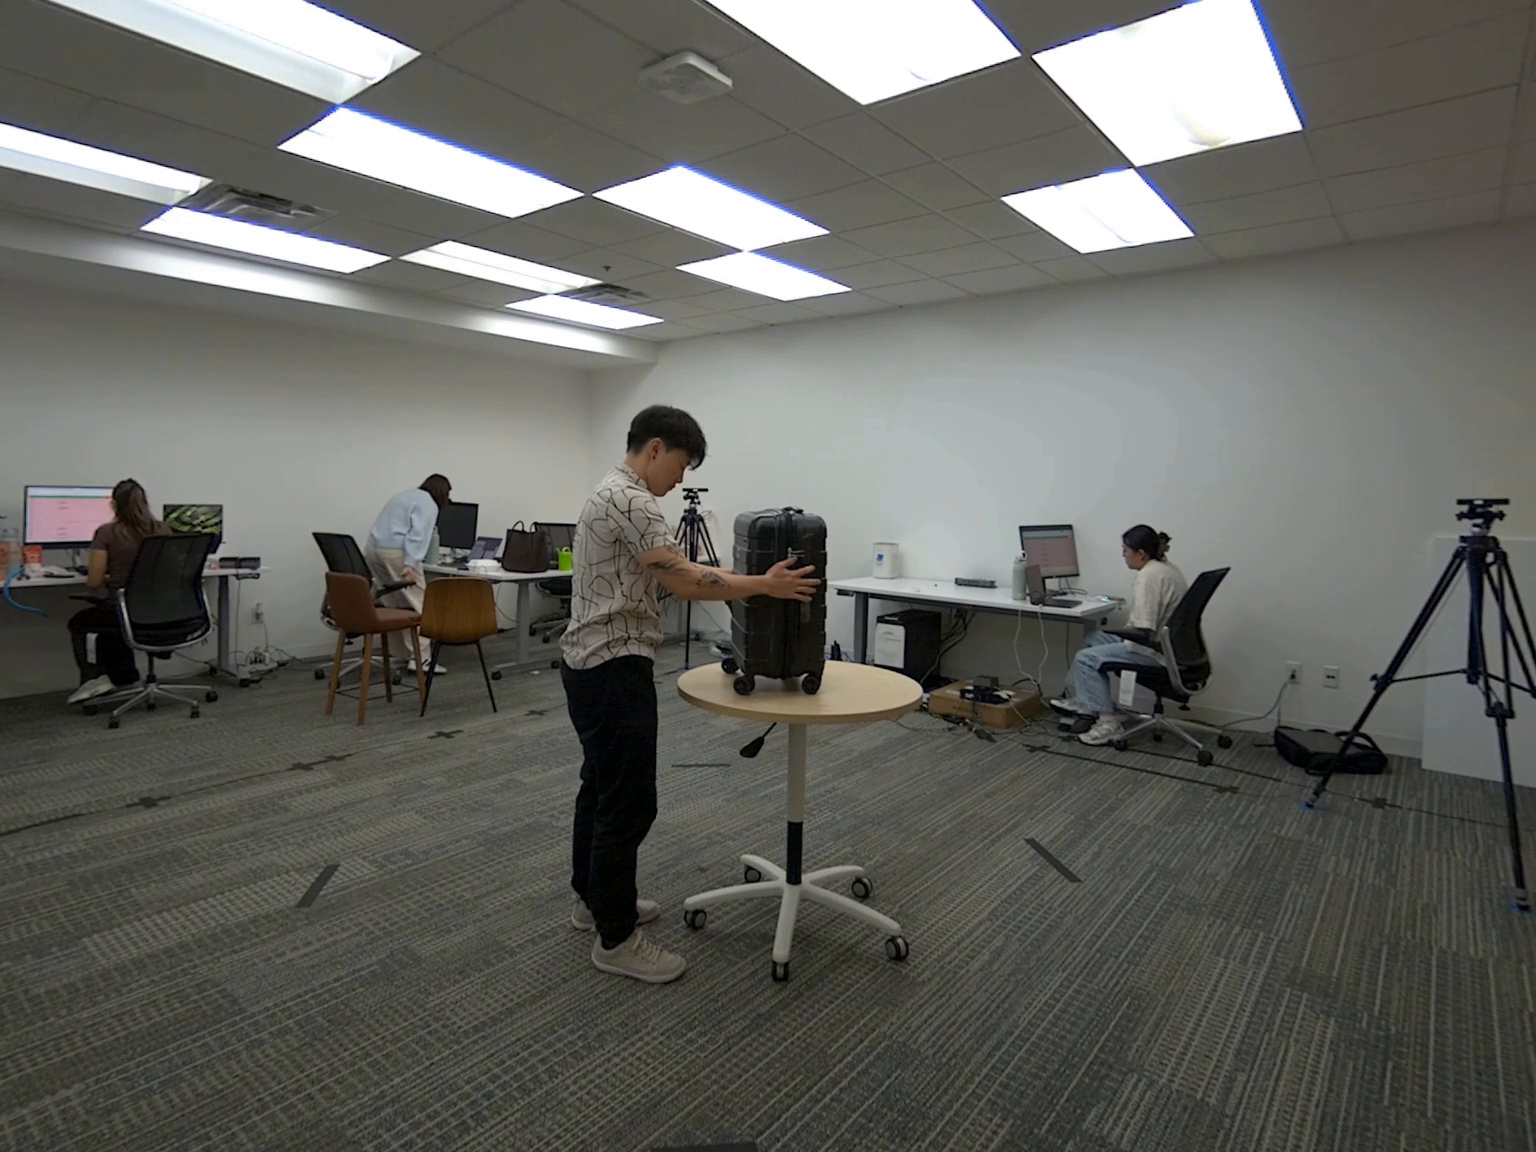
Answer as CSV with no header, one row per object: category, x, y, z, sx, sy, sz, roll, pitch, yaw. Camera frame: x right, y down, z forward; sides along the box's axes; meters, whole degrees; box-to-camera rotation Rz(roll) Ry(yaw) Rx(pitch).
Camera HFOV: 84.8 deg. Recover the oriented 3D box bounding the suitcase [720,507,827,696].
suitcase,0.011,0.060,2.650,0.246,0.547,0.380,2,5,-8
